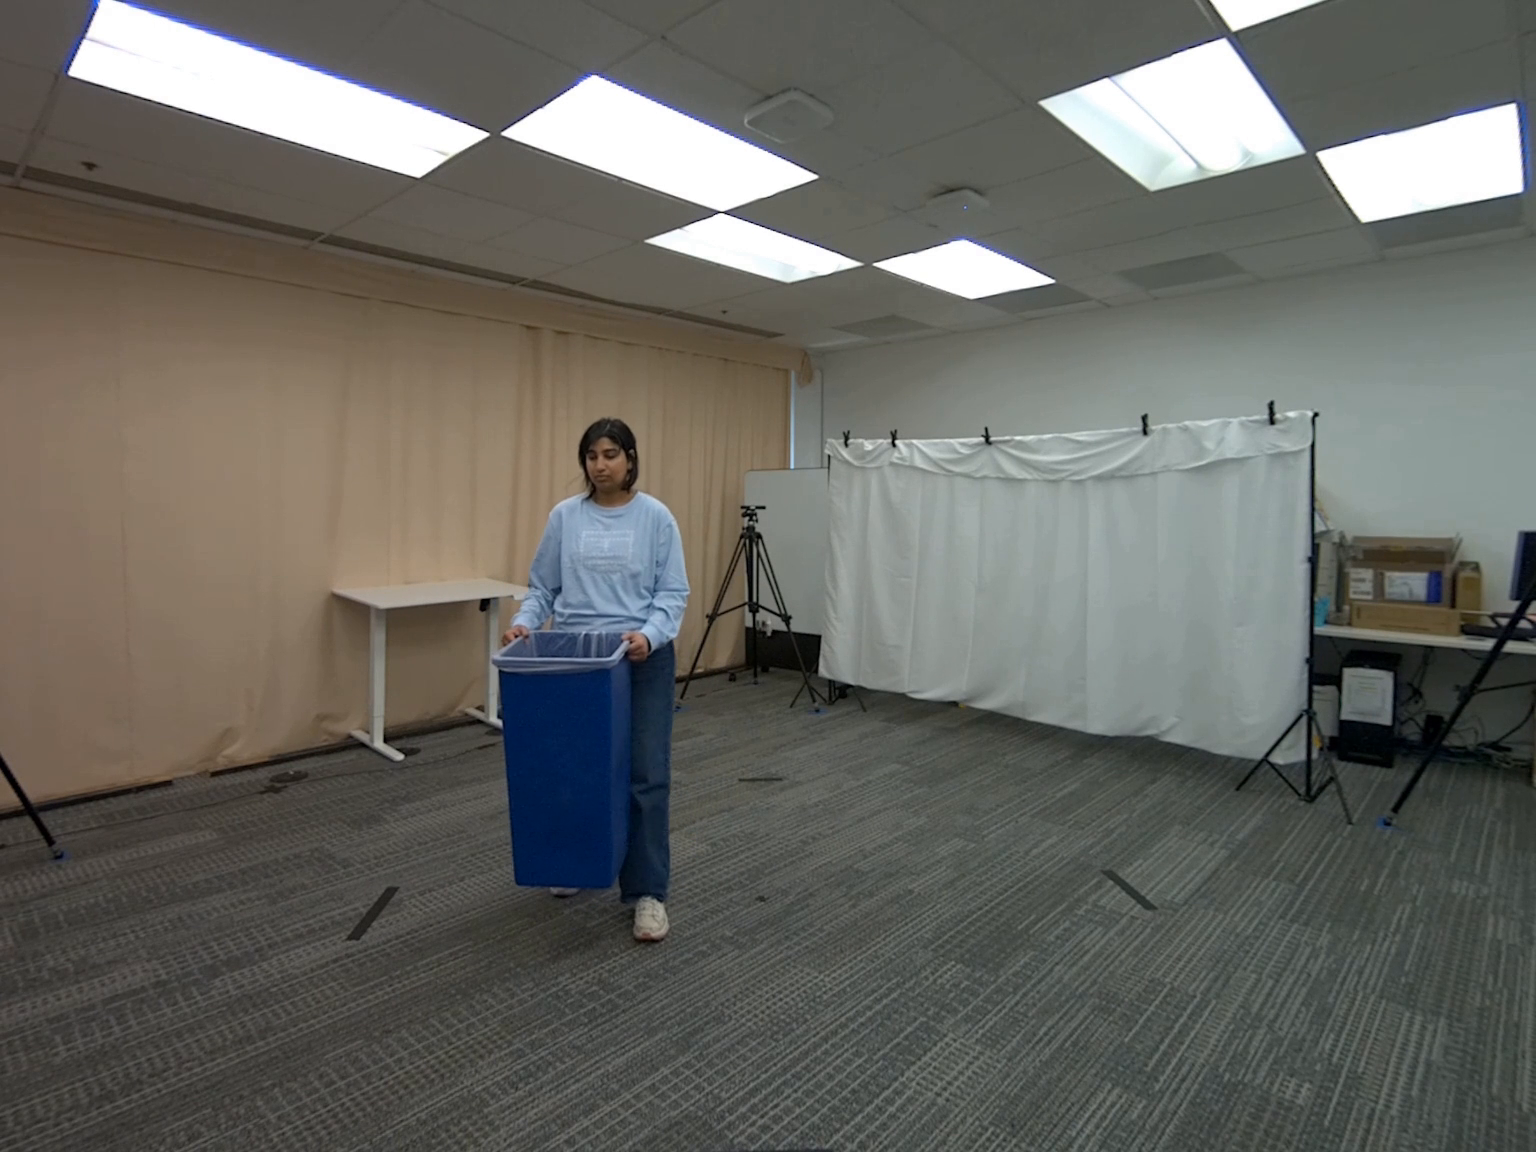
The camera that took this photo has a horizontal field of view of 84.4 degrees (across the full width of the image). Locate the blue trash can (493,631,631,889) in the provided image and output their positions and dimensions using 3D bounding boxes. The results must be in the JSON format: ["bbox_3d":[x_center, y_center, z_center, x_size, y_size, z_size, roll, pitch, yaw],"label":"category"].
[{"bbox_3d":[-0.611,0.562,2.617,0.380,0.711,0.374,-1,6,3],"label":"blue trash can"}]
